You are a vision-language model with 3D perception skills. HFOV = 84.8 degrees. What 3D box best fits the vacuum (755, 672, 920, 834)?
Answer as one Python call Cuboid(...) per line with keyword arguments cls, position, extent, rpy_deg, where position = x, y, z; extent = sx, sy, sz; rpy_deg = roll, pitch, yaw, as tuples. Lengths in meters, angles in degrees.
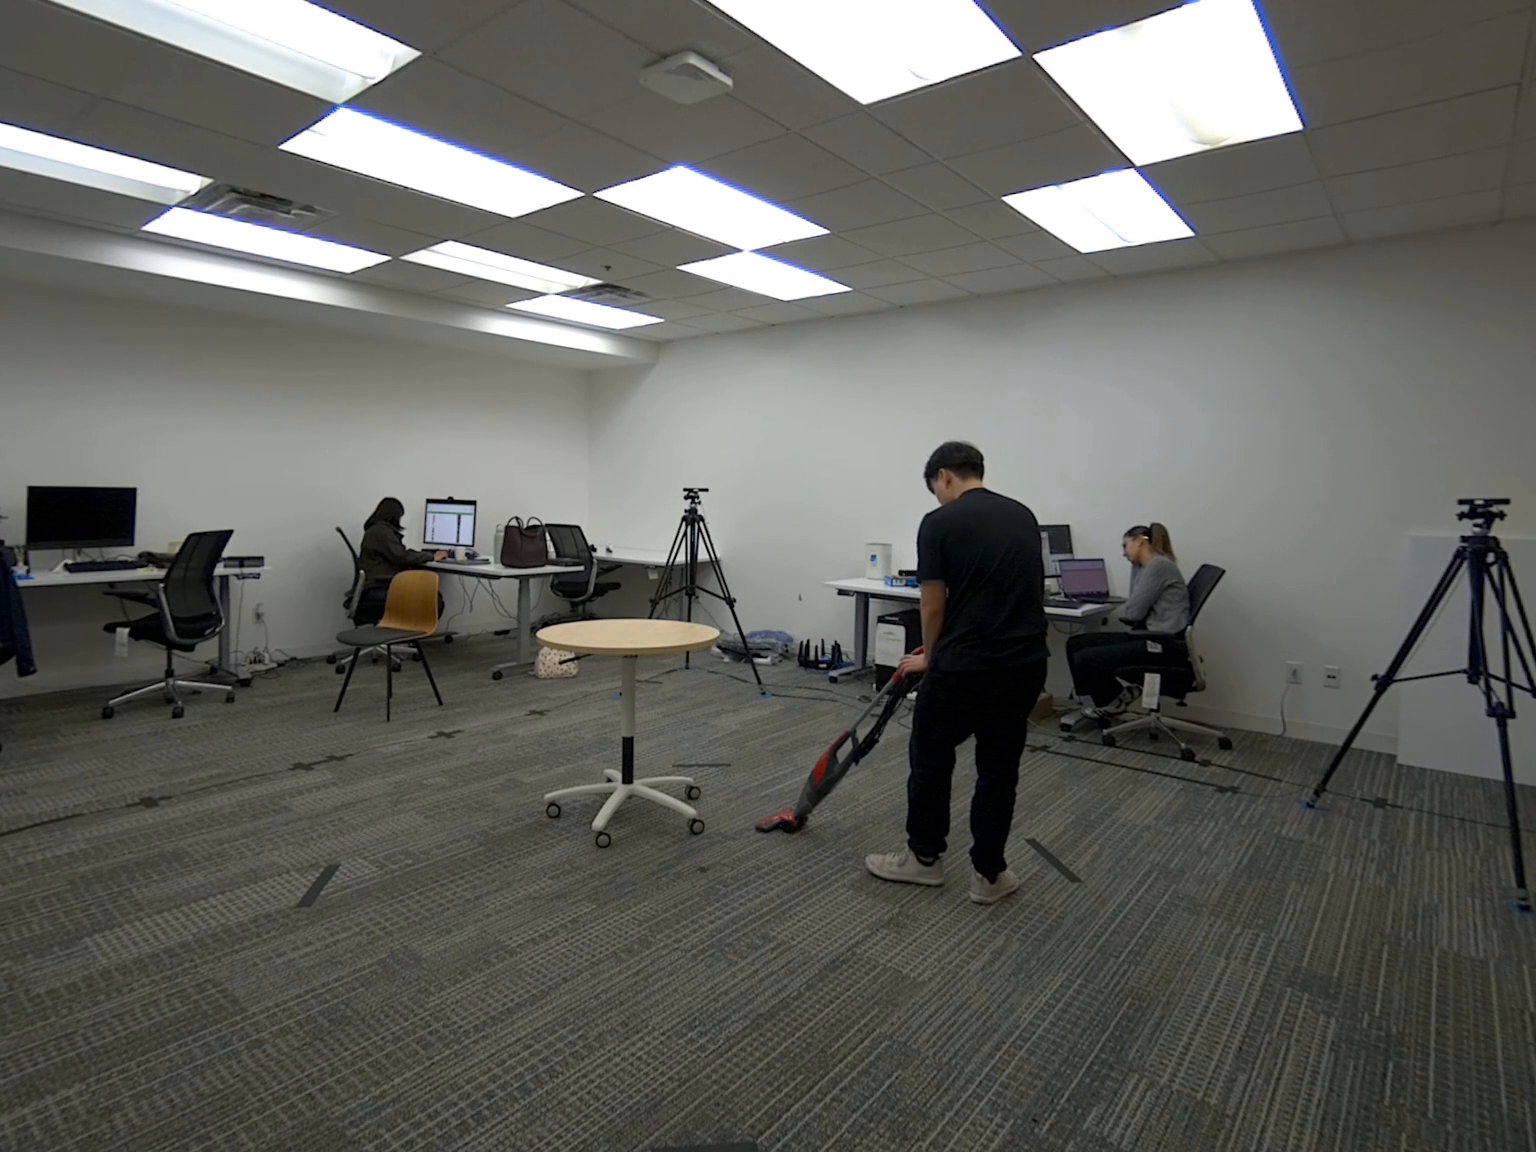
Cuboid(cls="vacuum", position=(0.330, 0.641, 3.331), extent=(0.148, 1.045, 0.247), rpy_deg=(44, 26, 18))
